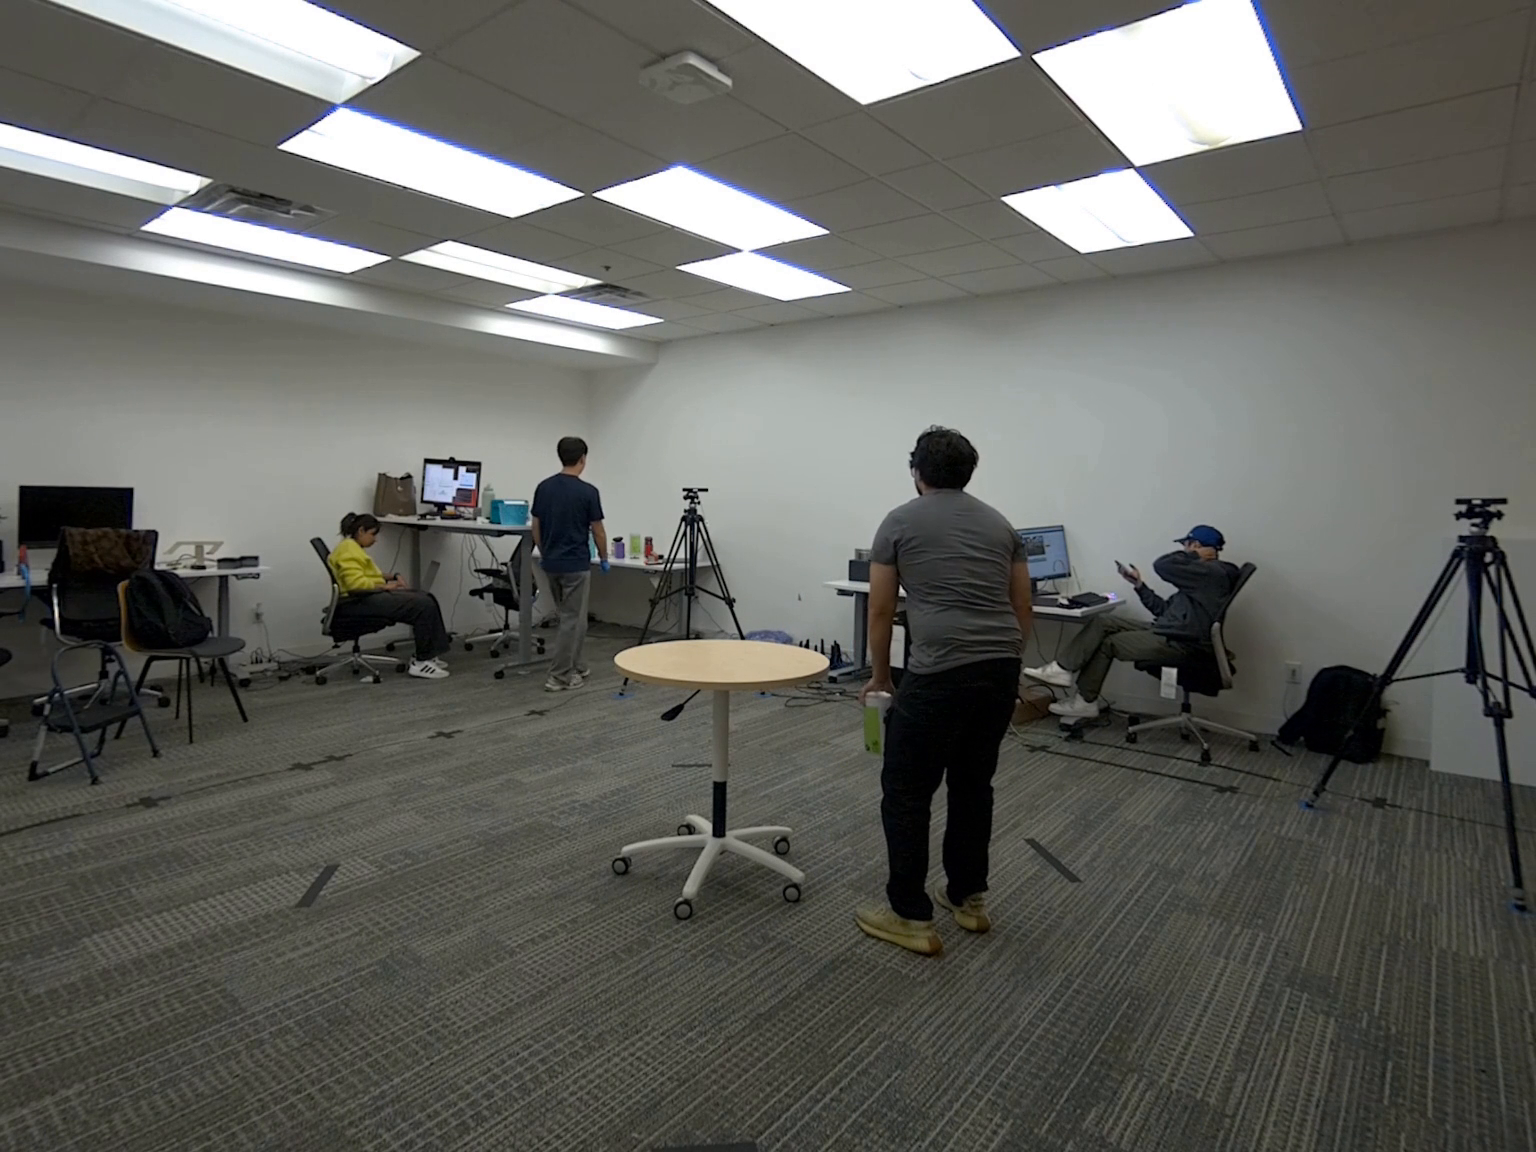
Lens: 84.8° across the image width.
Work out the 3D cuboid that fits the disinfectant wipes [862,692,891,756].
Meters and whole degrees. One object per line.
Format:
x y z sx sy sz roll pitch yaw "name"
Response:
0.378 0.522 2.954 0.118 0.216 0.118 -4 4 -1 "disinfectant wipes"
